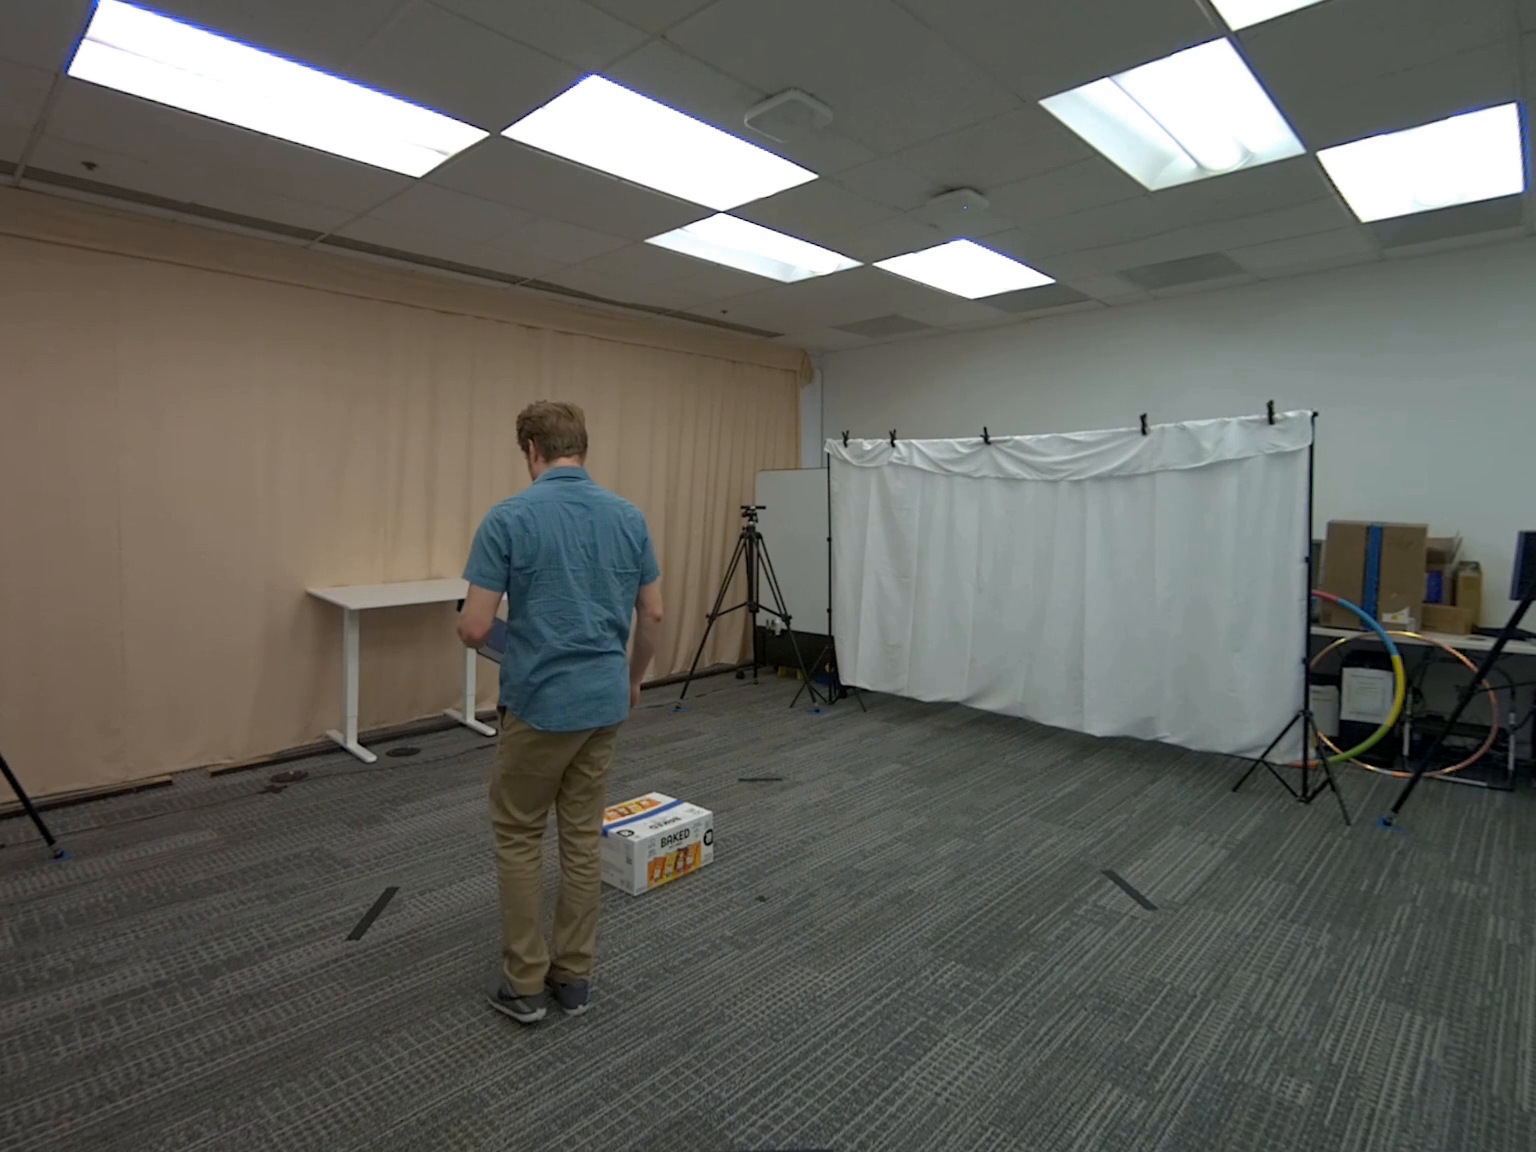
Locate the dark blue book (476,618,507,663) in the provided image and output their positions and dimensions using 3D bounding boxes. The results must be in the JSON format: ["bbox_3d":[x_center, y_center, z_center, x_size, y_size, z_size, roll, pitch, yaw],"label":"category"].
[{"bbox_3d":[-0.832,0.206,2.593,0.045,0.168,0.237,-34,-34,4],"label":"dark blue book"}]
